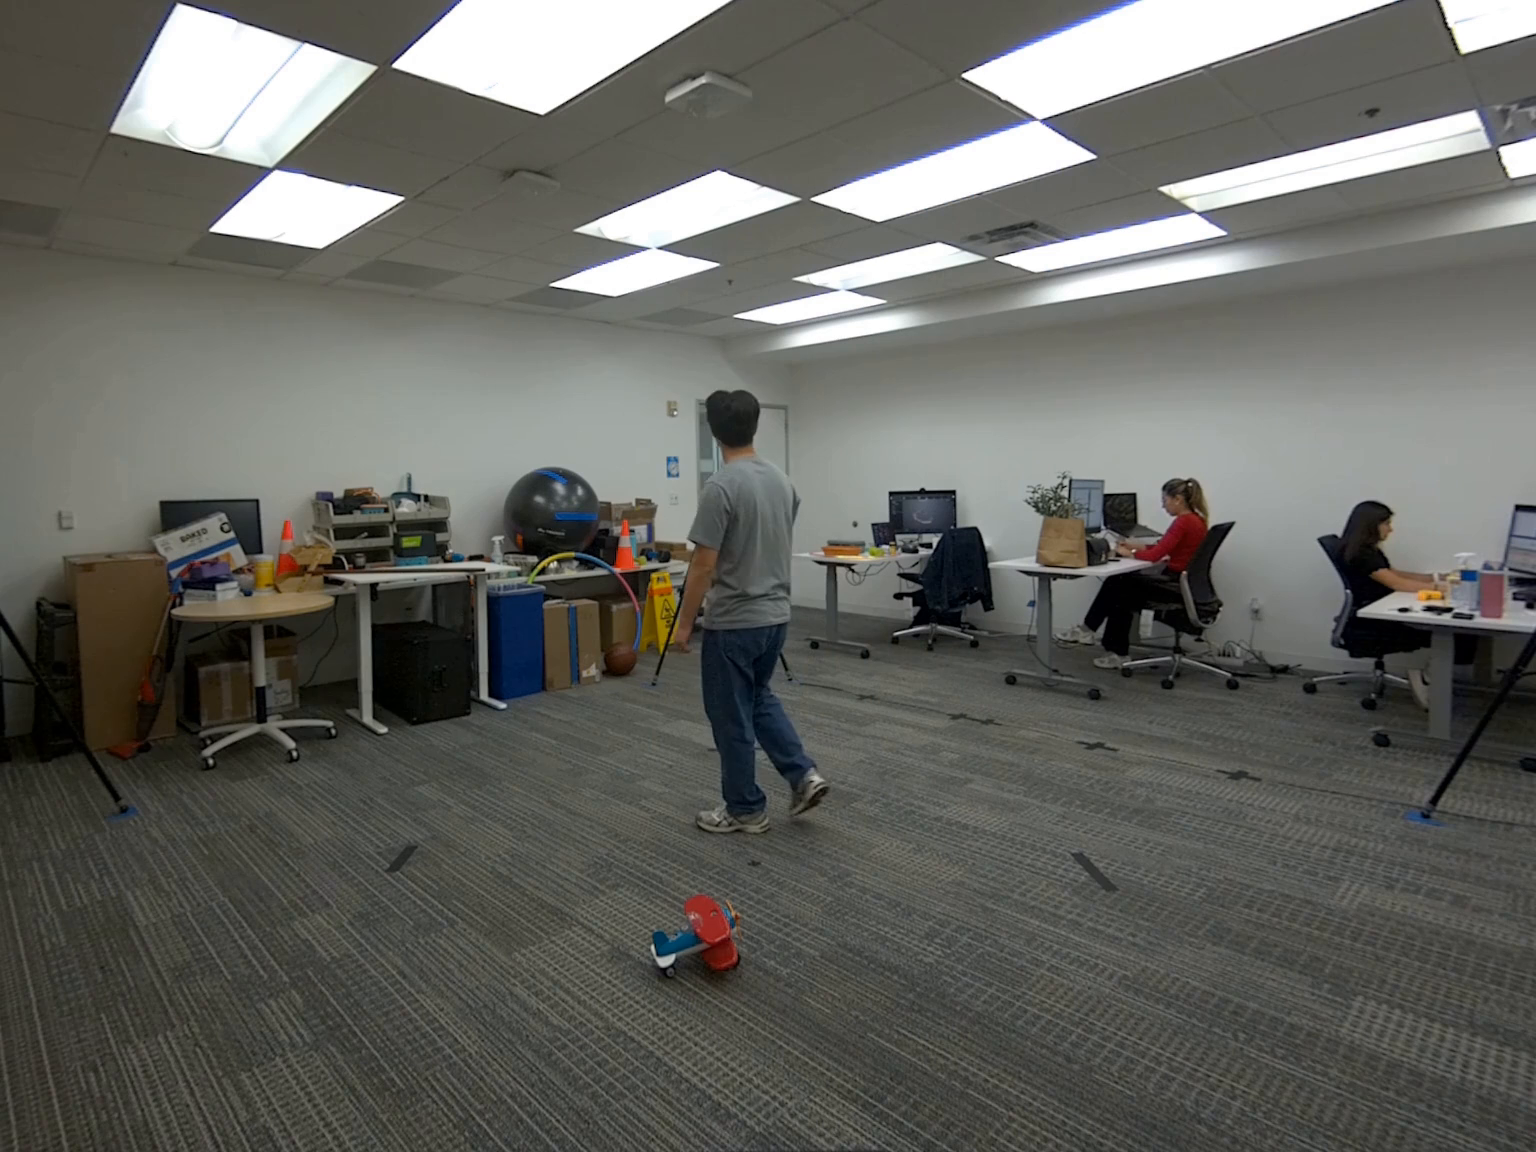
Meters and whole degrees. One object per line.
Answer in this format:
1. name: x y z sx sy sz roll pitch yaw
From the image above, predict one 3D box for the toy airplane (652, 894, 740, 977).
1. toy airplane: -0.194 1.059 2.439 0.259 0.156 0.252 4 8 42
